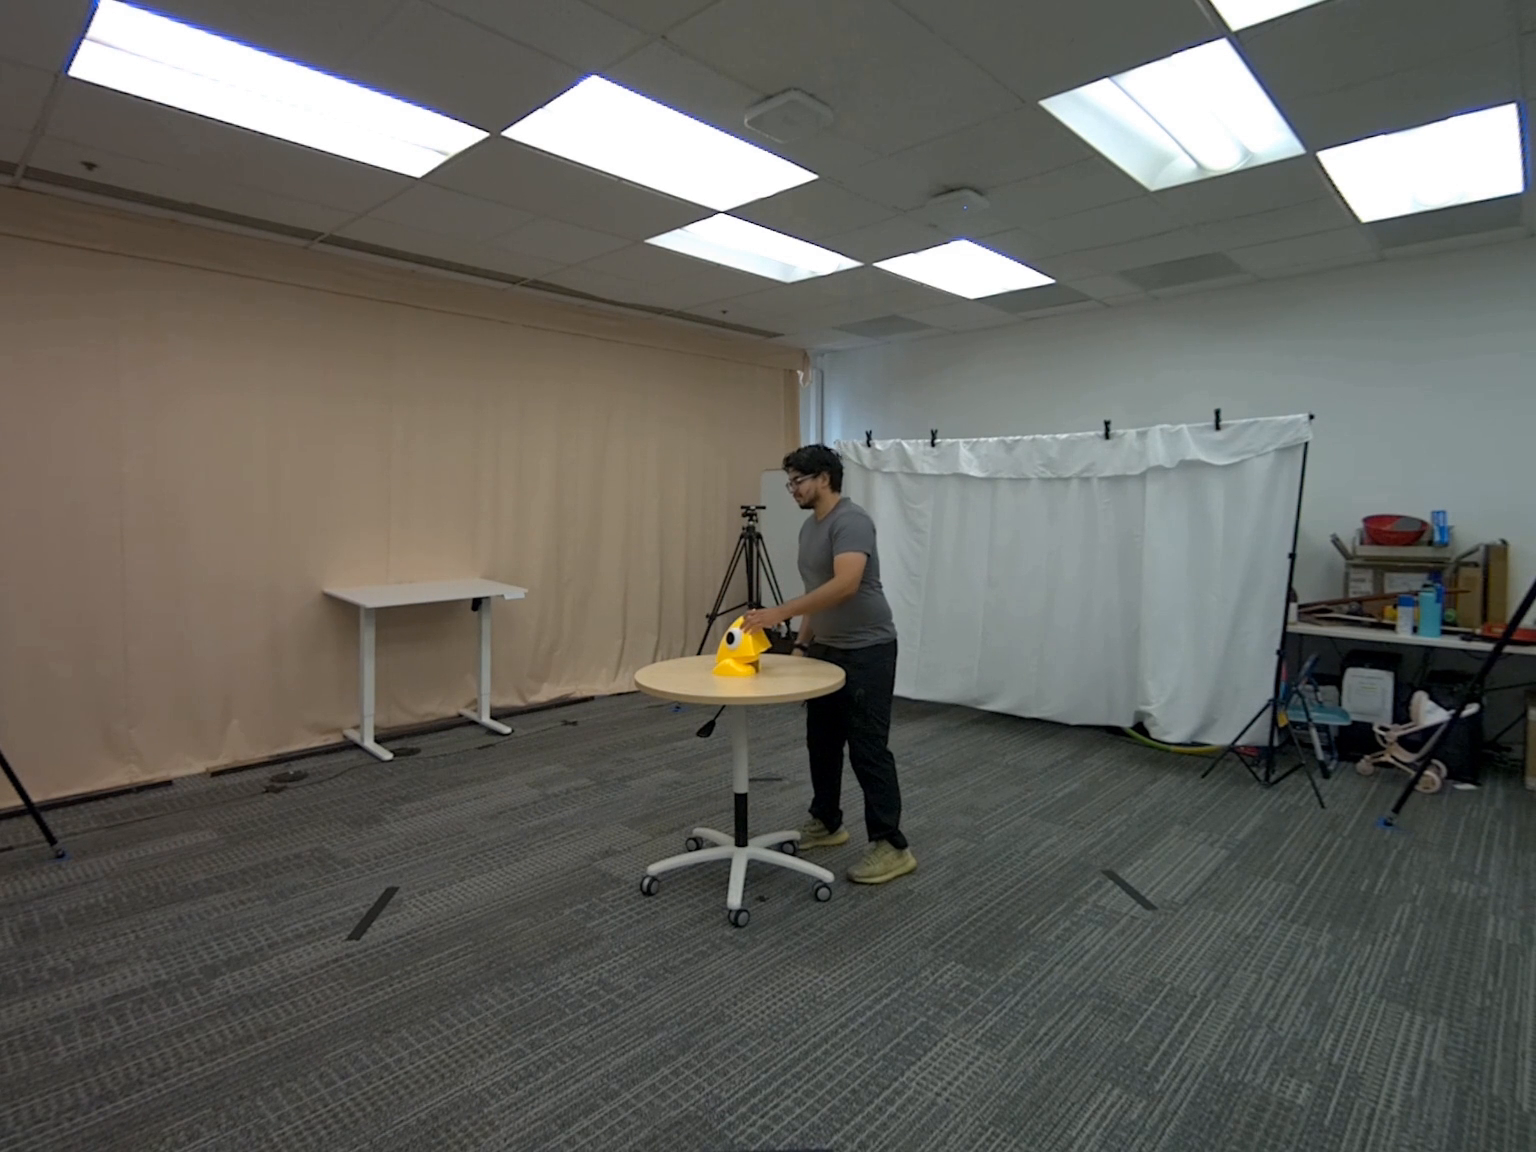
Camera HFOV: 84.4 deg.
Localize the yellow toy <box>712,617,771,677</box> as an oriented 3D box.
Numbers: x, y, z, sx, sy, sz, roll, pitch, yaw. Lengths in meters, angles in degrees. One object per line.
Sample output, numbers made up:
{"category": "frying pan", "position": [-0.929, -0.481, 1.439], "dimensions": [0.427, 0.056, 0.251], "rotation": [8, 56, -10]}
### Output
{"category": "yellow toy", "position": [-0.104, 0.236, 3.102], "dimensions": [0.197, 0.230, 0.201], "rotation": [1, 4, 19]}
